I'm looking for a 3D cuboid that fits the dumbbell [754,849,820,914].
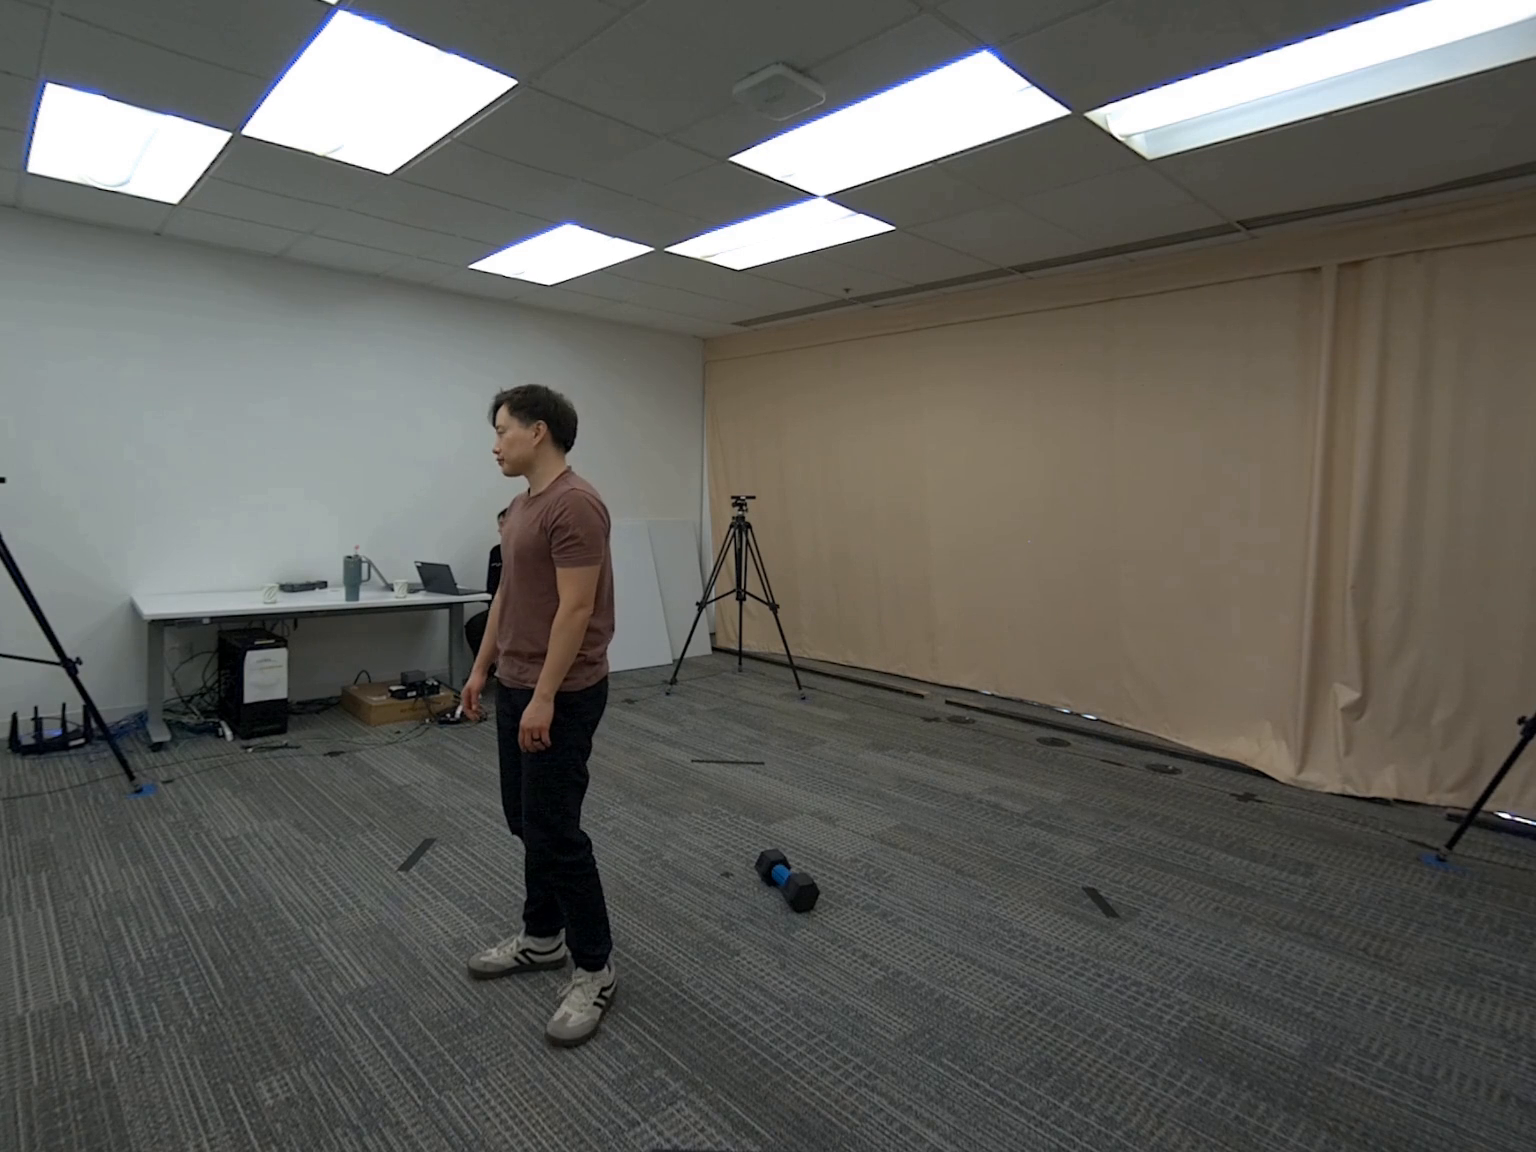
[{"bbox_3d":[0.057,1.066,2.953,0.106,0.123,0.299,34,-9,-24],"label":"dumbbell"}]
